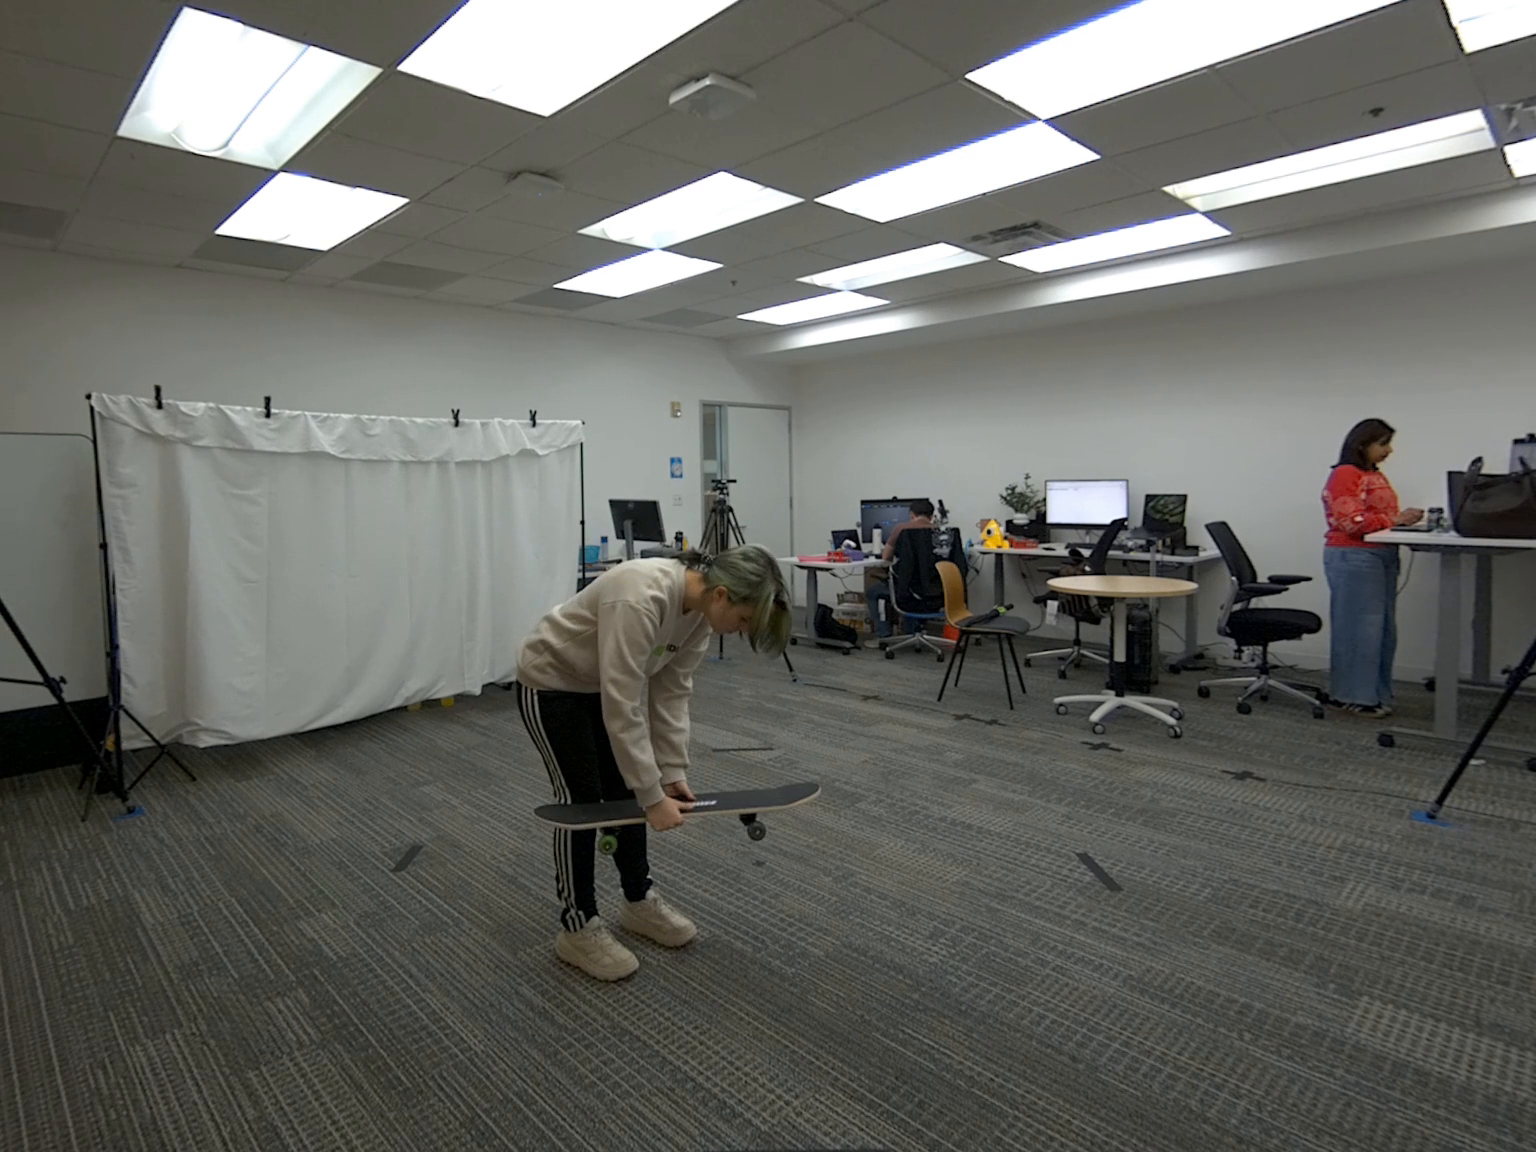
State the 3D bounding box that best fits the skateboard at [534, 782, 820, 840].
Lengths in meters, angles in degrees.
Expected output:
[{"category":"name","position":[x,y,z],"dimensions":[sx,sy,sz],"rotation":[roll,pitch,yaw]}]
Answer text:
[{"category":"skateboard","position":[-0.232,0.659,2.331],"dimensions":[0.780,0.110,0.194],"rotation":[-3,0,-7]}]
